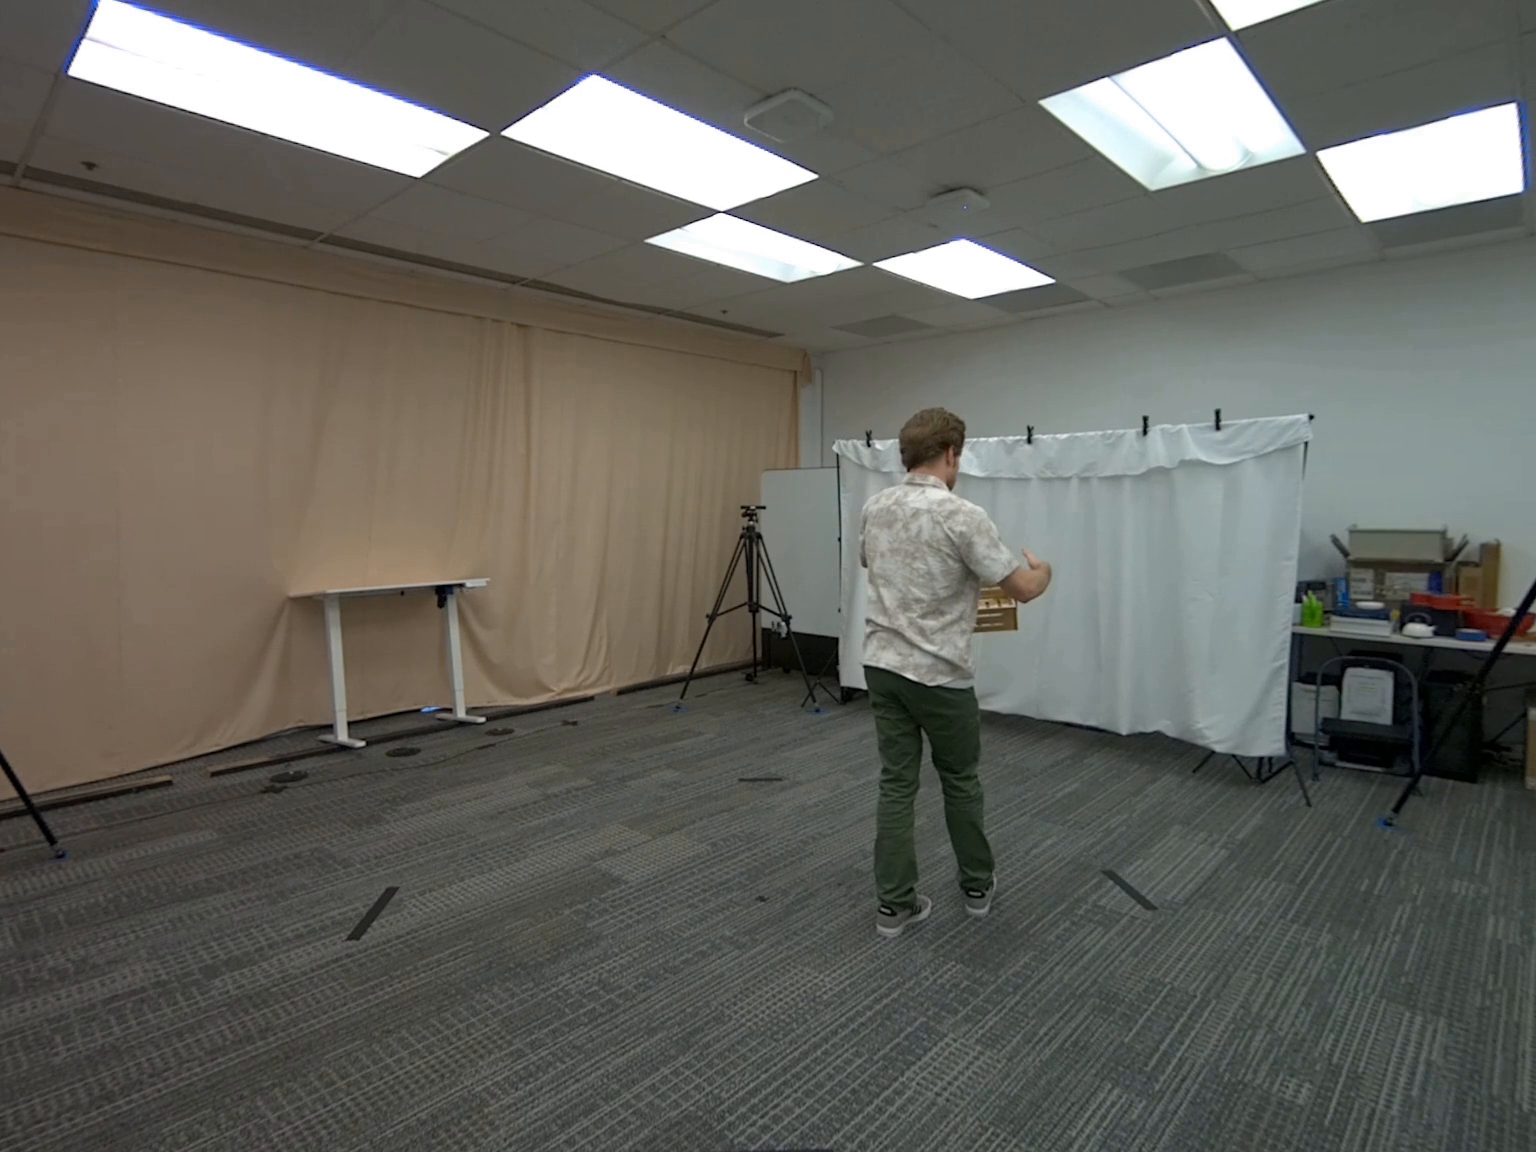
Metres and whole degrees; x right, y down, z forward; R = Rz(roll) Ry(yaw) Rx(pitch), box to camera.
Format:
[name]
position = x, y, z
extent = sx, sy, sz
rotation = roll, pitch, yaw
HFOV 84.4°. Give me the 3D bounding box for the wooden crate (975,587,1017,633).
[wooden crate]
position = 0.756, 0.049, 3.073
extent = 0.328, 0.269, 0.303
rotation = -6, 22, 12
